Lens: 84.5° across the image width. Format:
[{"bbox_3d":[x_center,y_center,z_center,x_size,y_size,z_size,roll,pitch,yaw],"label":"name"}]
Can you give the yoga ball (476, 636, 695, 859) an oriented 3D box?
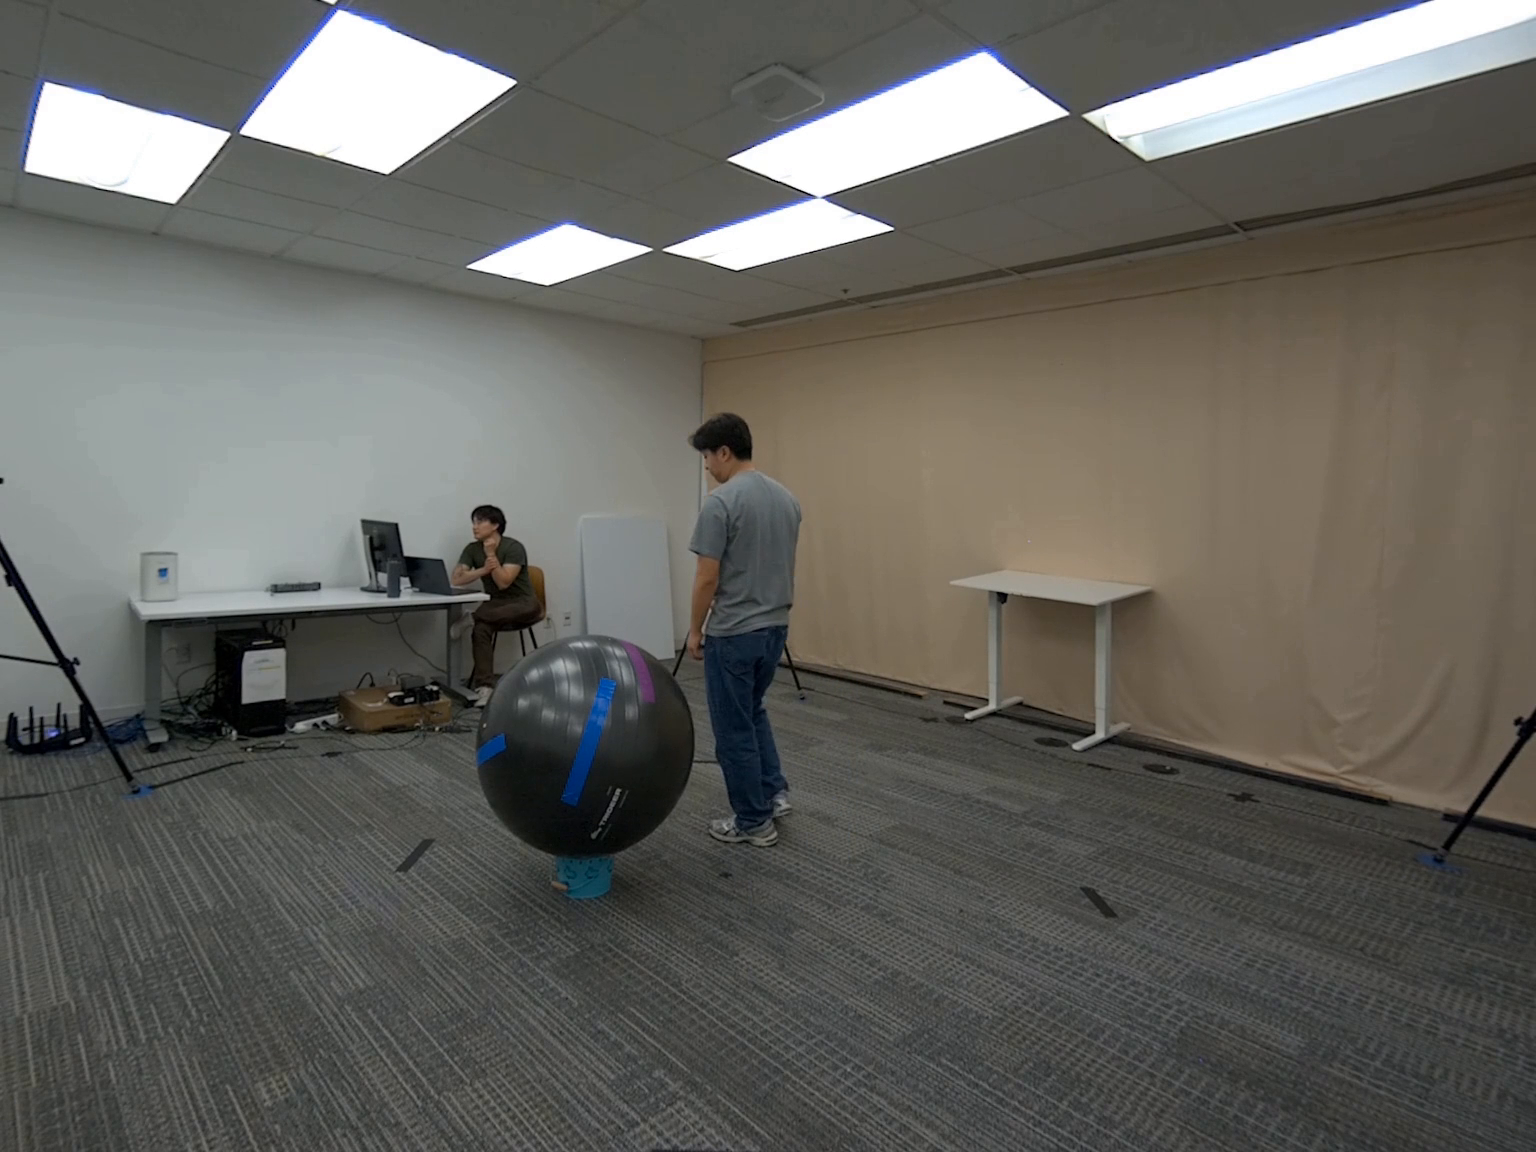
[{"bbox_3d":[-0.643,0.595,2.967,0.757,0.756,0.761,1,4,-1],"label":"yoga ball"}]
